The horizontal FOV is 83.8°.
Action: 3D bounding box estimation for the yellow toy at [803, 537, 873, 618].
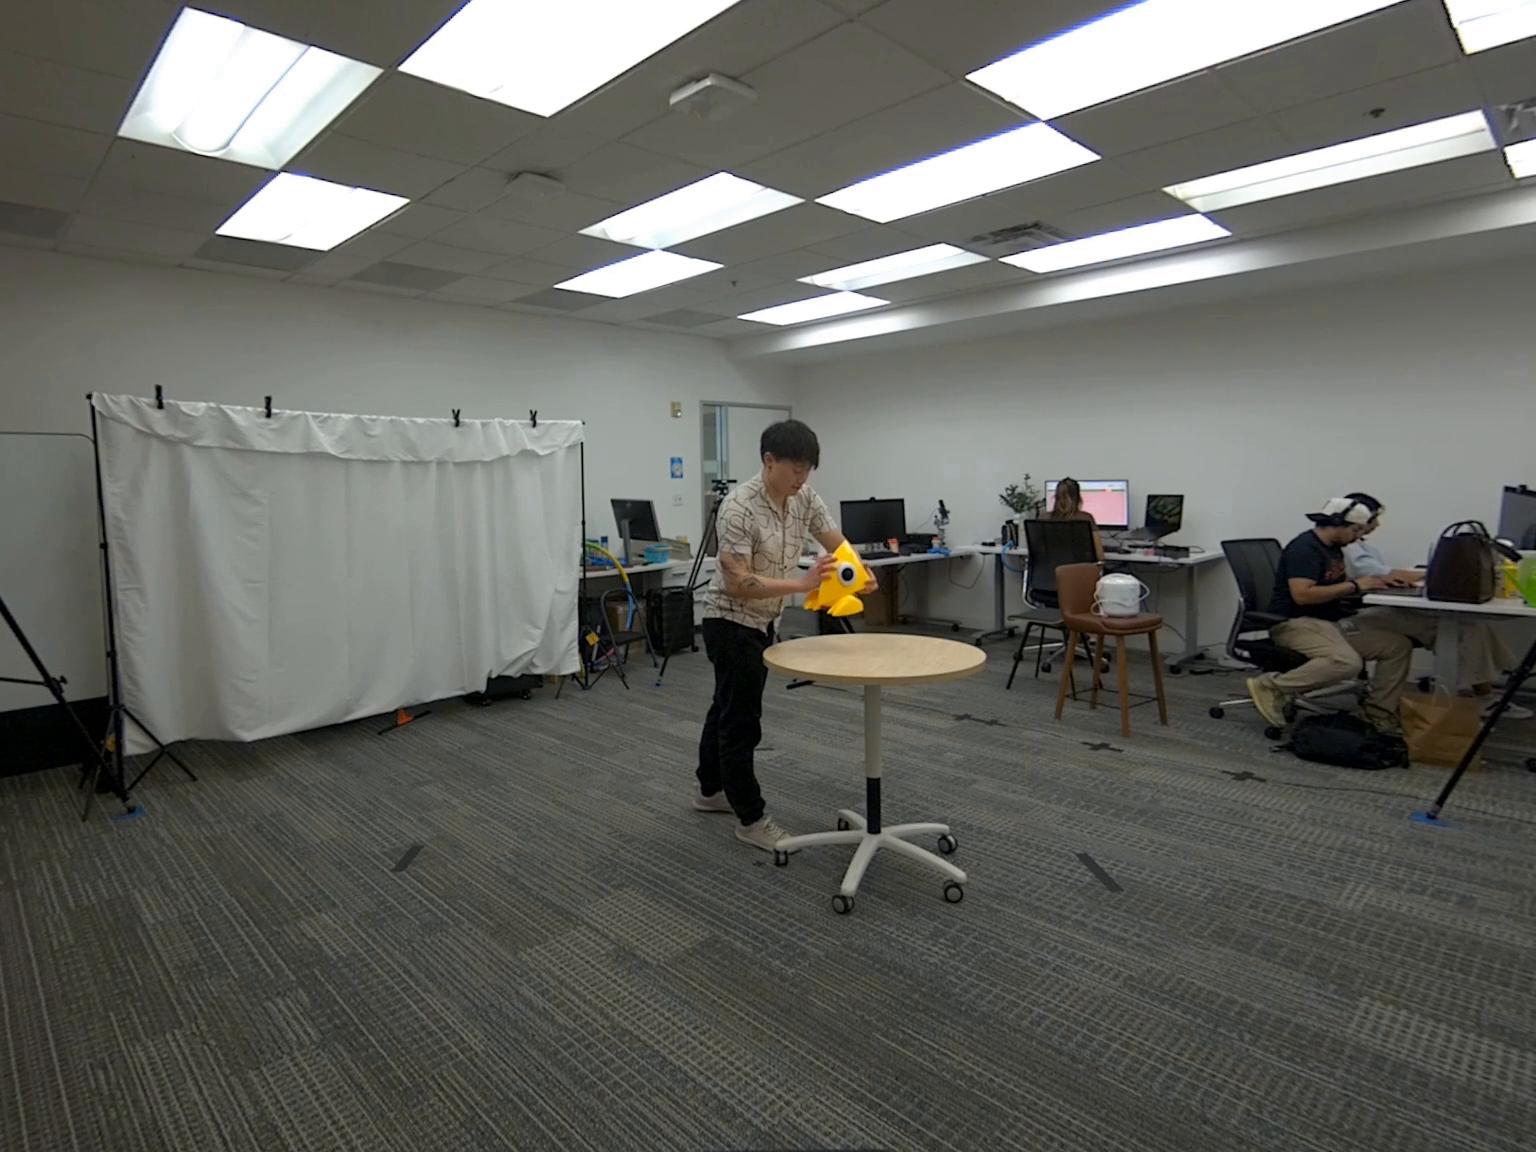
[{"bbox_3d":[0.235,-0.002,2.994,0.189,0.228,0.212,-12,17,-43],"label":"yellow toy"}]
